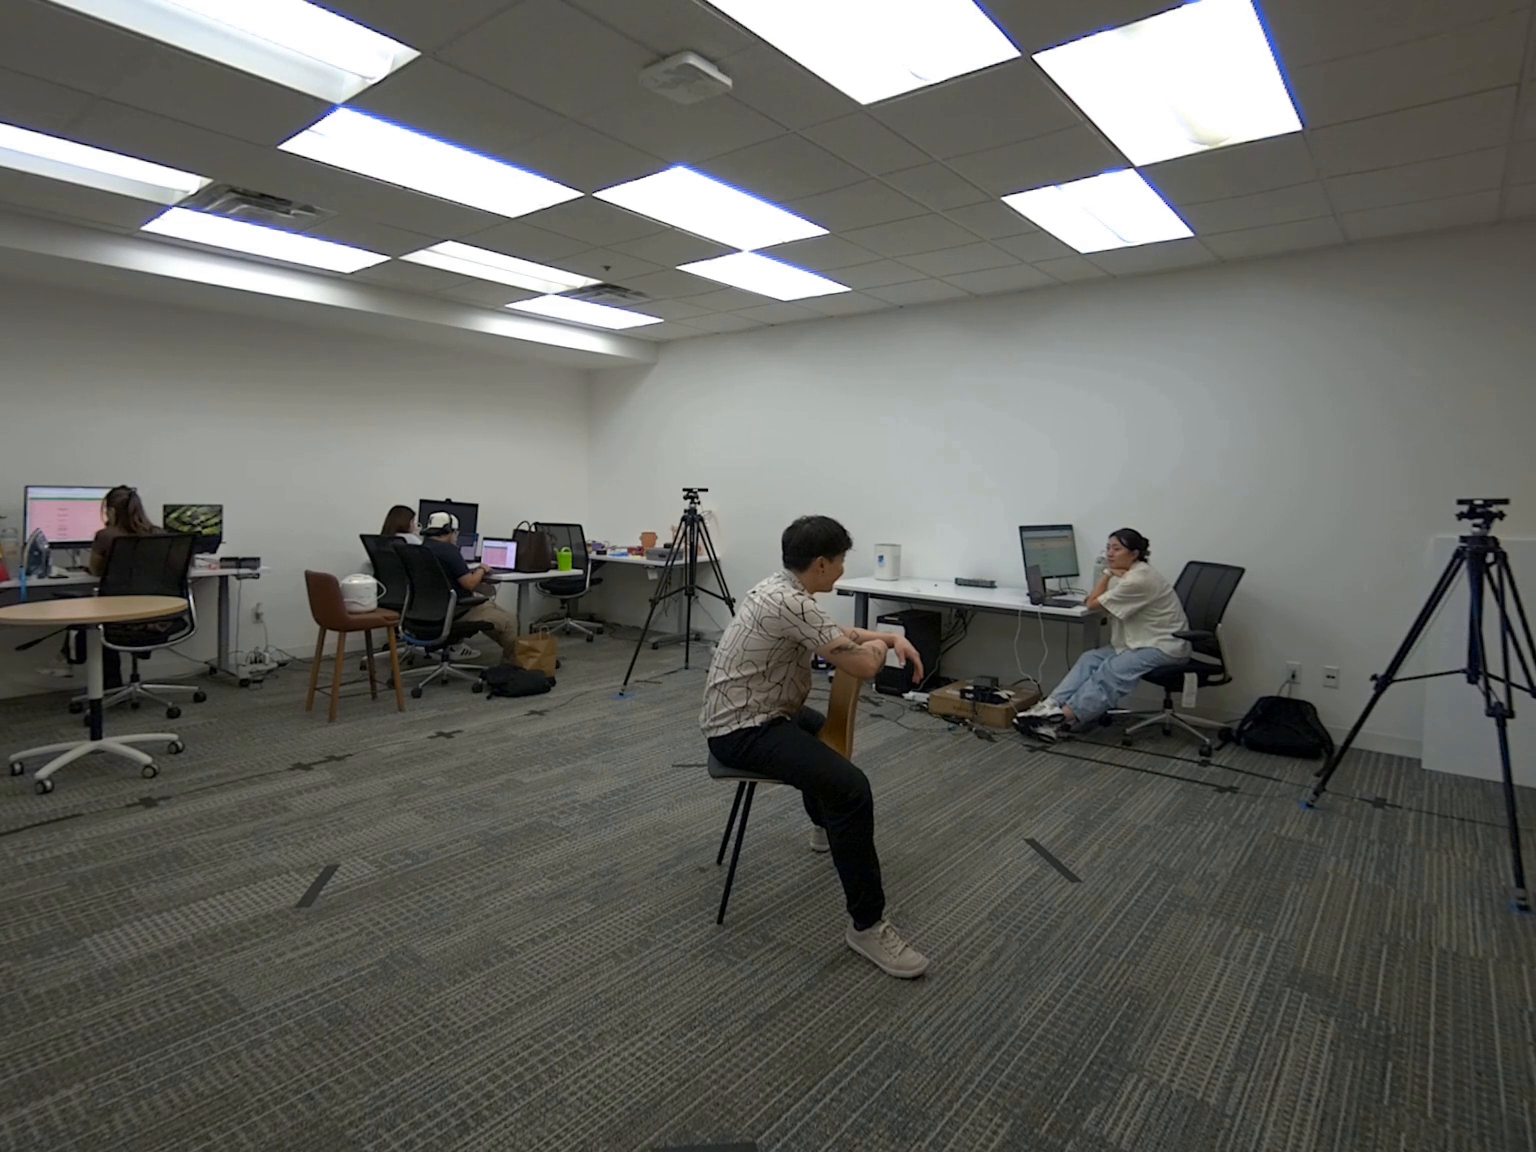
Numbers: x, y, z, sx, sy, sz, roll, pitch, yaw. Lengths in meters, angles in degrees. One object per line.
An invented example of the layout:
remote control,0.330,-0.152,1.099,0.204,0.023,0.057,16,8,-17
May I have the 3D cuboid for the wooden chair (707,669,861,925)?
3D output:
wooden chair,0.044,0.677,2.911,0.522,0.875,0.480,6,3,-3
